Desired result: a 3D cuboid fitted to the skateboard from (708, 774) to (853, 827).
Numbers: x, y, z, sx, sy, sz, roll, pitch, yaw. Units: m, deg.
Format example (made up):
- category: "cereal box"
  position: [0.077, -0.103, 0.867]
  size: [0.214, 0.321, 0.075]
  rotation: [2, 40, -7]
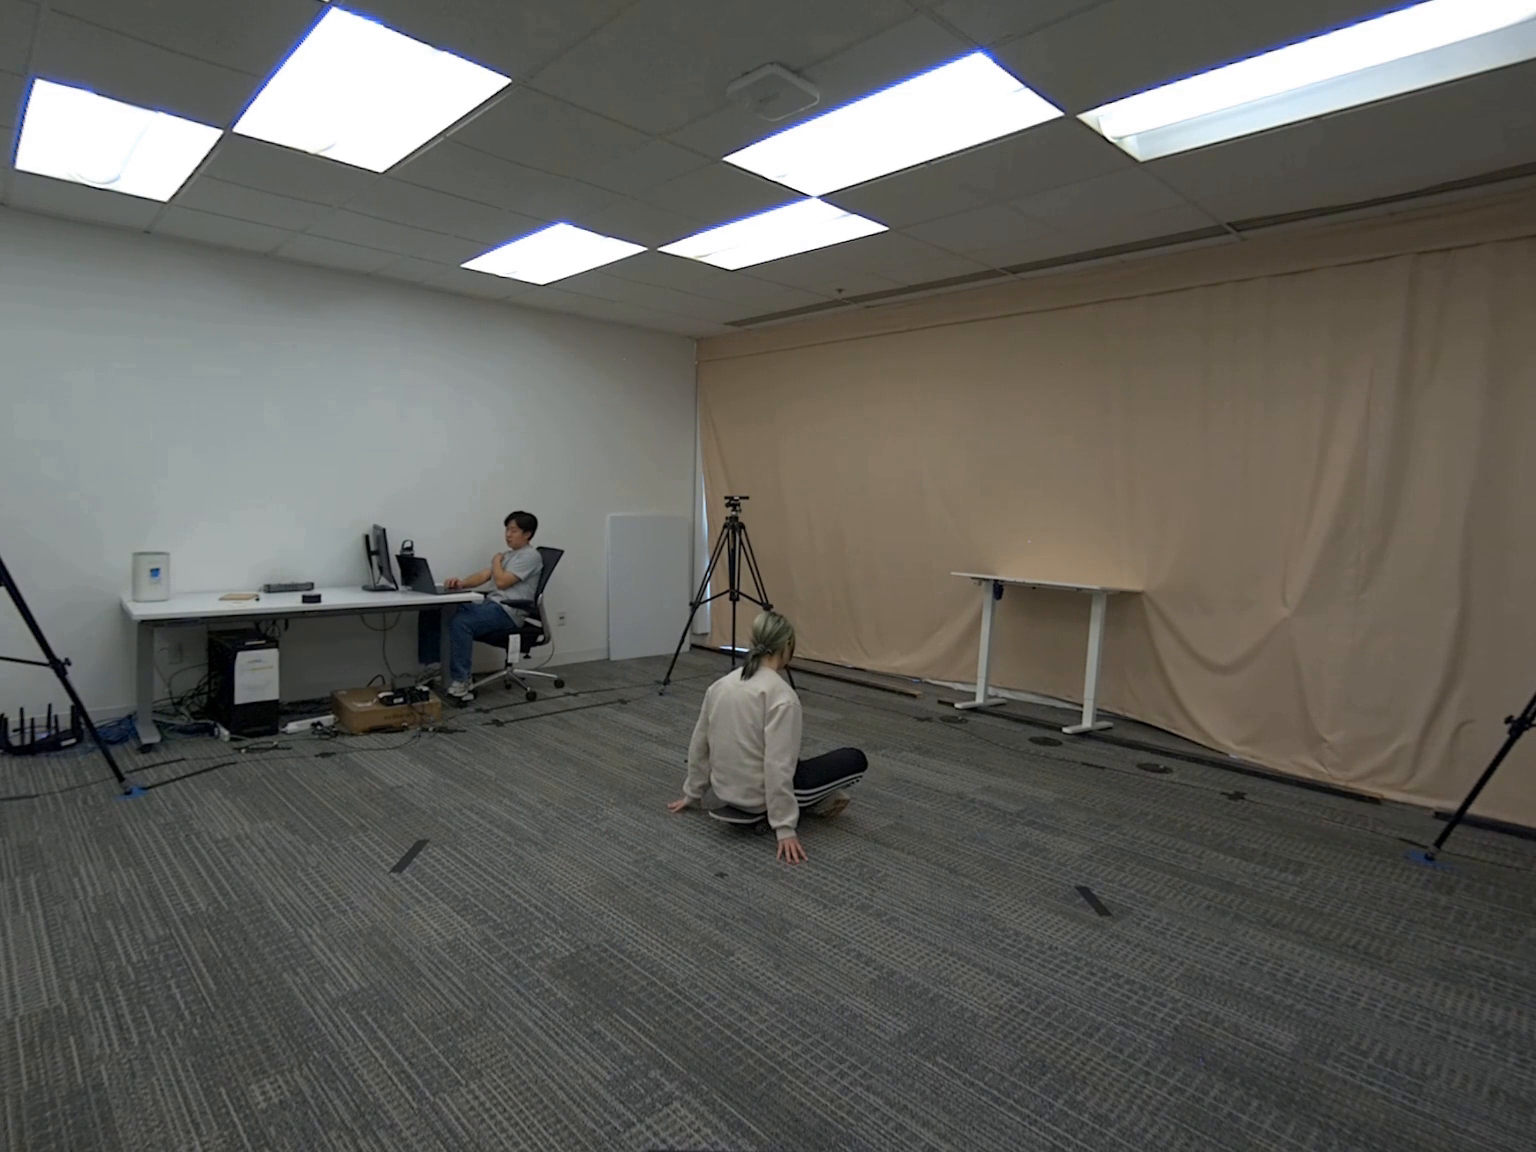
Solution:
- category: "skateboard"
  position: [0.035, 1.003, 3.714]
  size: [0.198, 0.110, 0.769]
  rotation: [2, 6, 40]
